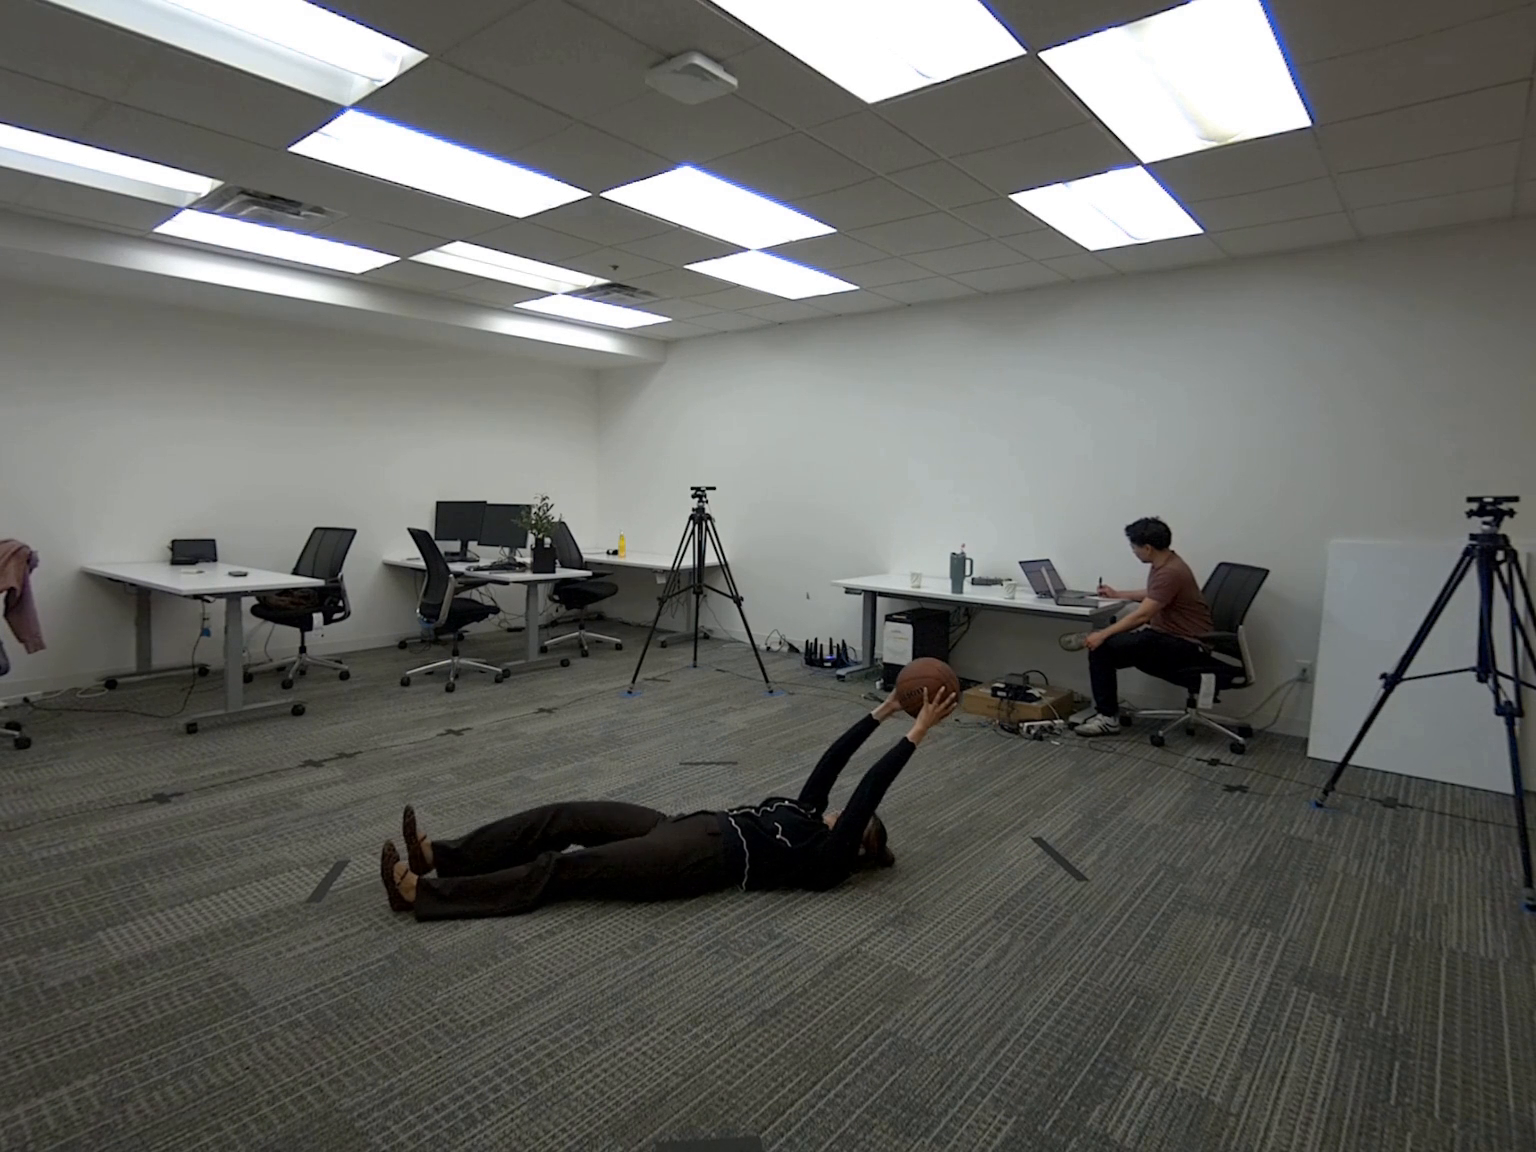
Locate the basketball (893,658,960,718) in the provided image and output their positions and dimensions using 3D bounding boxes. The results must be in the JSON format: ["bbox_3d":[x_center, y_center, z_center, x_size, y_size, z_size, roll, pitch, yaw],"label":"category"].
[{"bbox_3d":[0.586,0.423,3.195,0.236,0.235,0.237,1,4,-2],"label":"basketball"}]
